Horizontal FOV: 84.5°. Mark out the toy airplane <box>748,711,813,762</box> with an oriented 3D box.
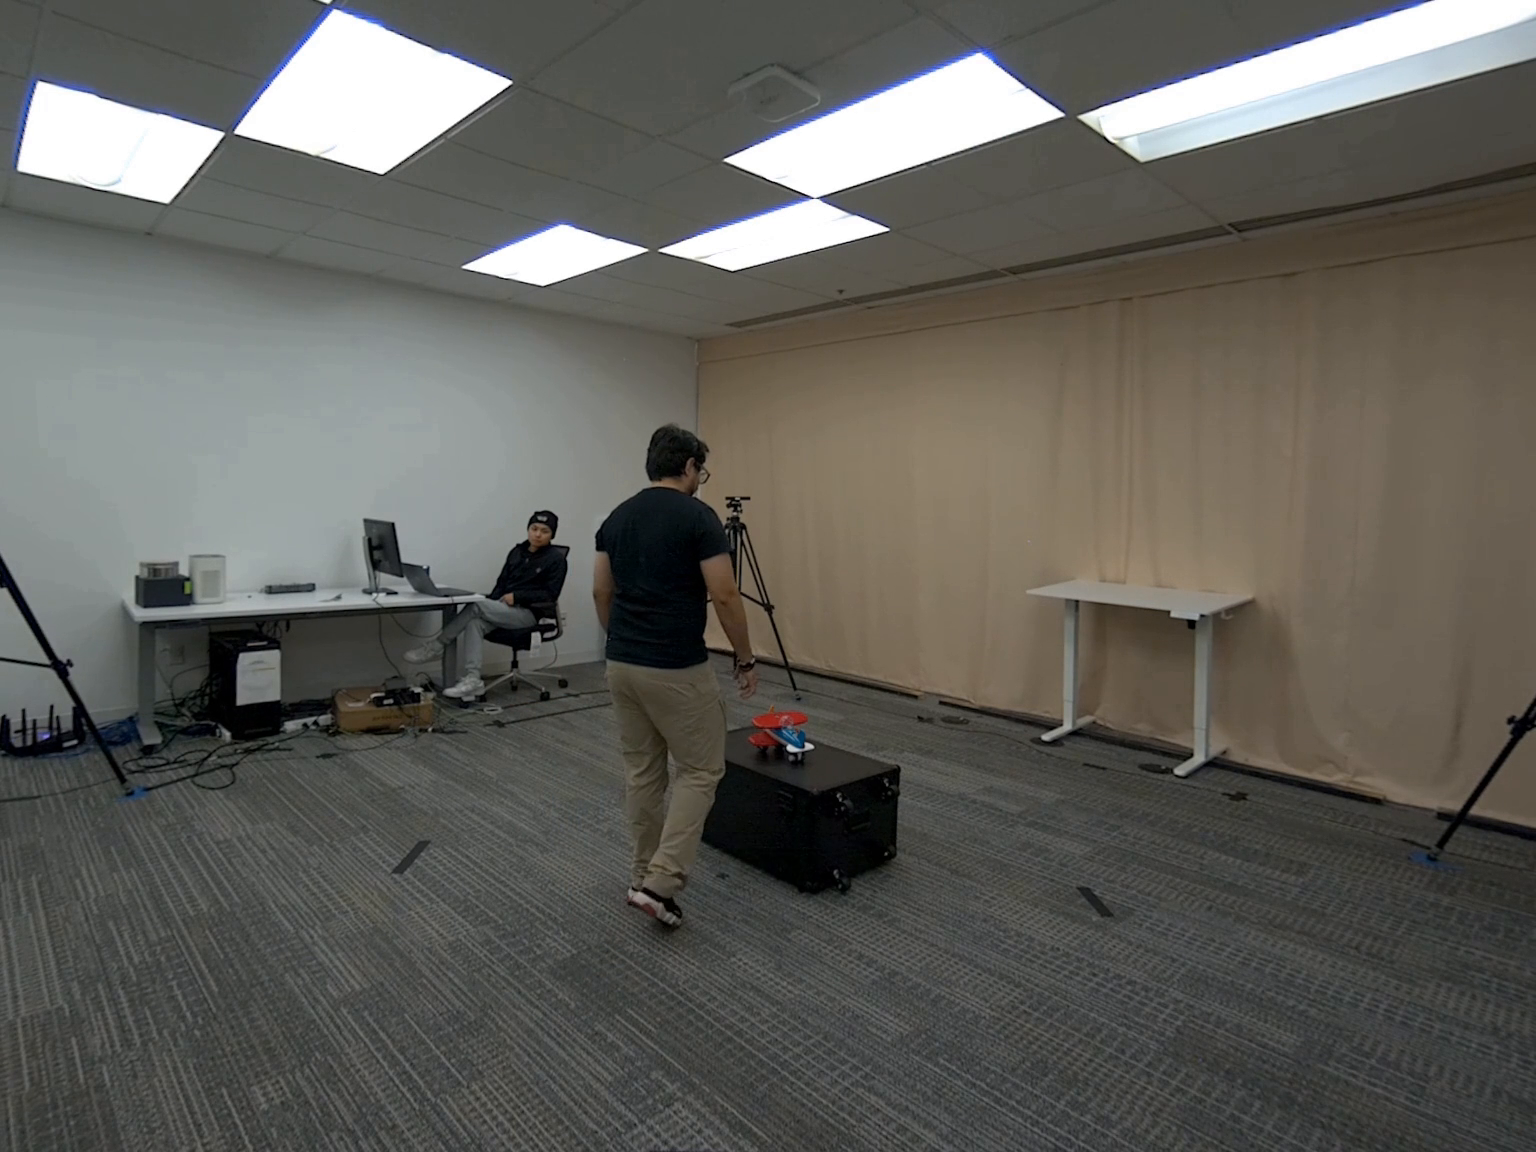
[{"bbox_3d":[0.067,0.635,3.362,0.264,0.156,0.246,2,4,27],"label":"toy airplane"}]
